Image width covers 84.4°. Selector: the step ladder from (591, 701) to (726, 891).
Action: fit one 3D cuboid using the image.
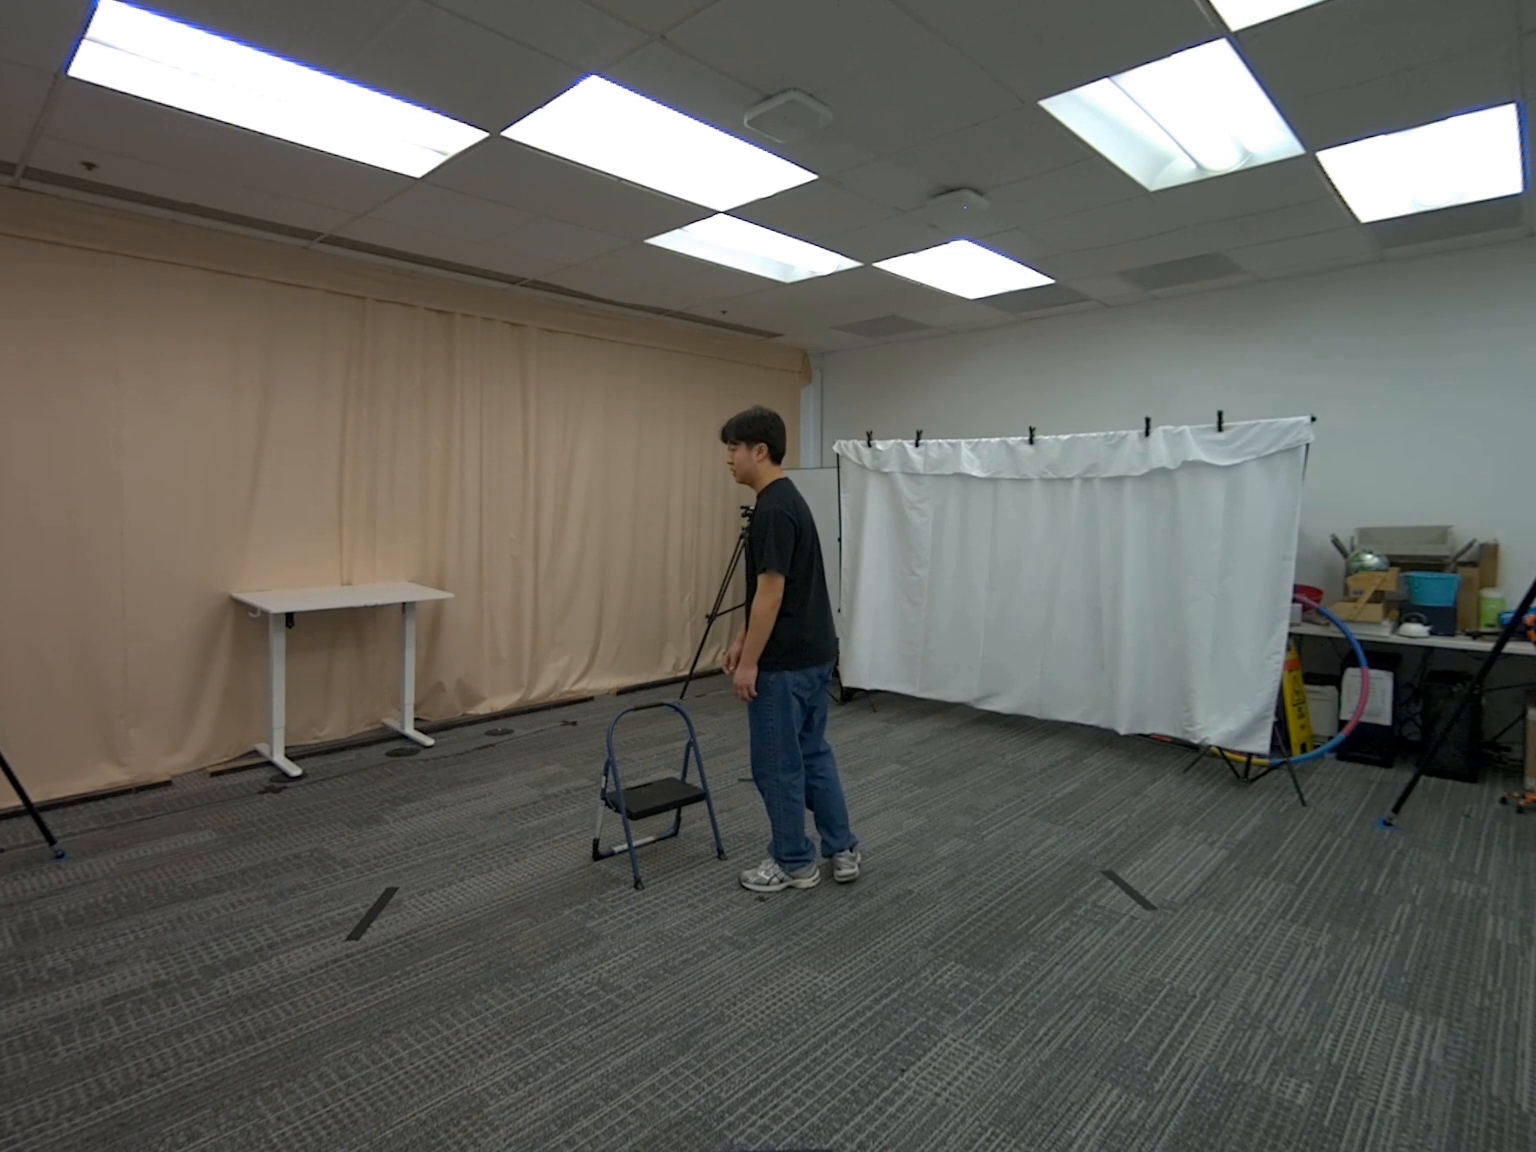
[{"bbox_3d":[-0.434,0.817,3.313,0.417,0.605,0.361,-3,4,-41],"label":"step ladder"}]
